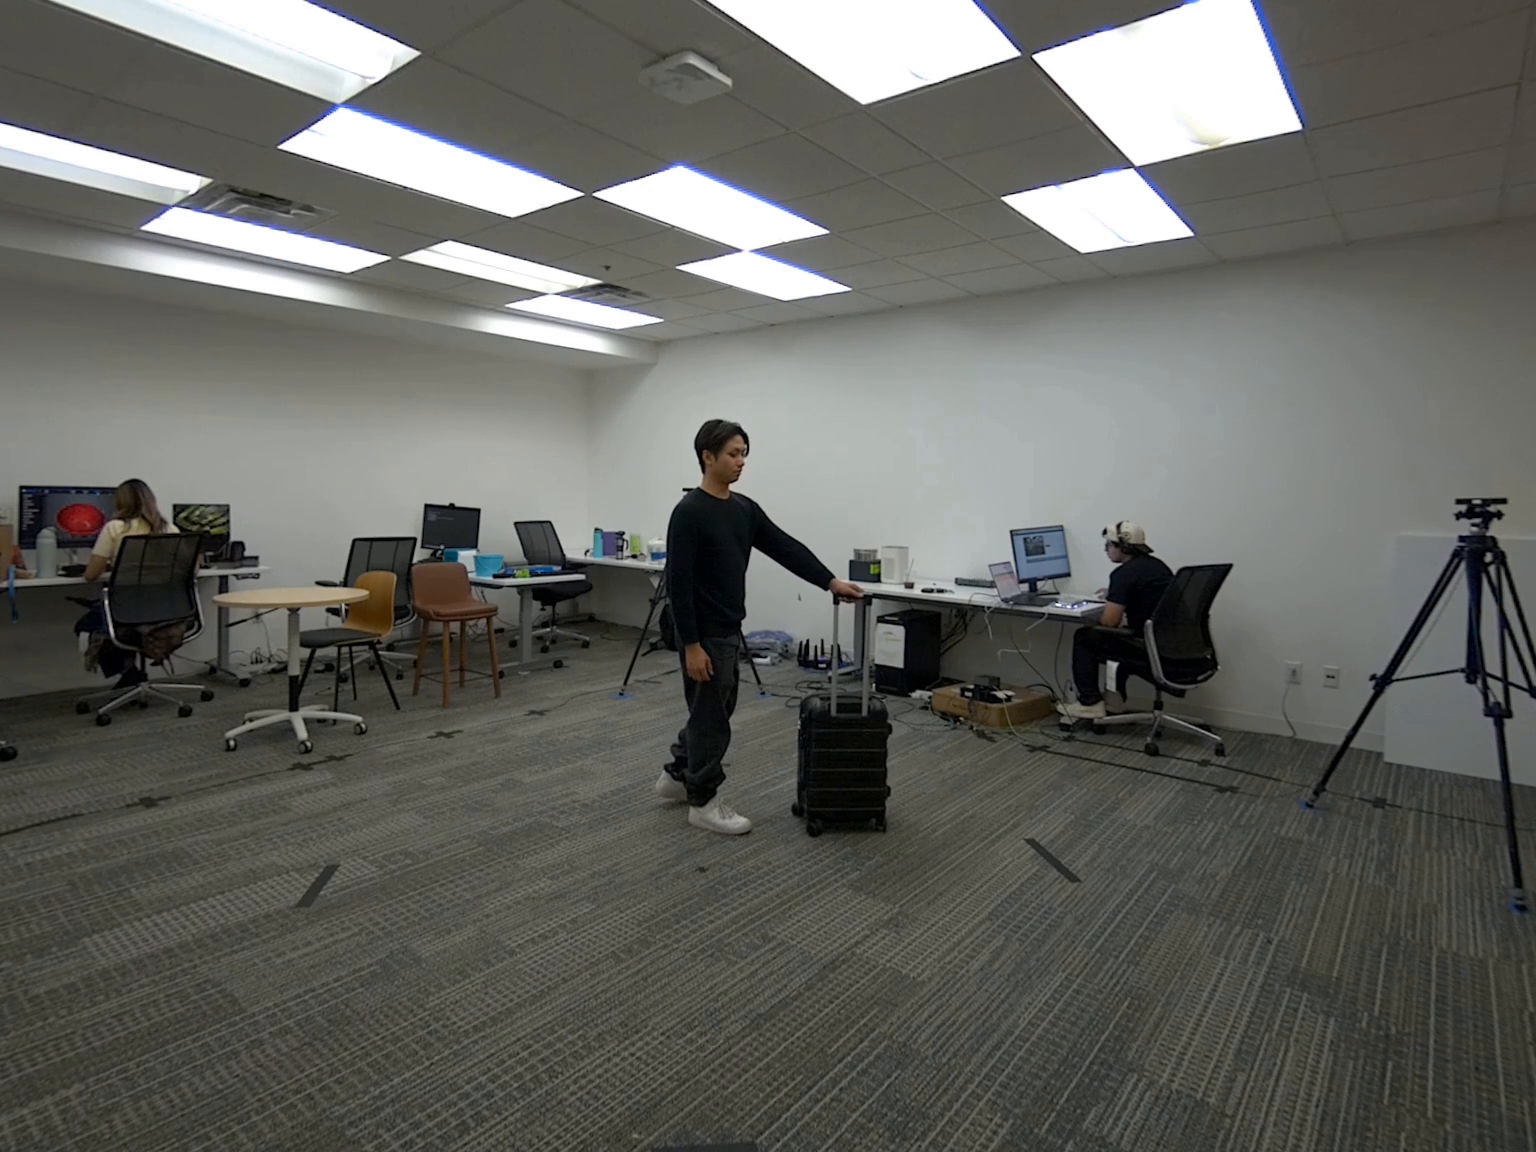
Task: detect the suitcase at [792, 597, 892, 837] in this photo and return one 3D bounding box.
[{"bbox_3d":[0.308,0.563,3.560,0.381,0.978,0.259,2,1,-8],"label":"suitcase"}]
